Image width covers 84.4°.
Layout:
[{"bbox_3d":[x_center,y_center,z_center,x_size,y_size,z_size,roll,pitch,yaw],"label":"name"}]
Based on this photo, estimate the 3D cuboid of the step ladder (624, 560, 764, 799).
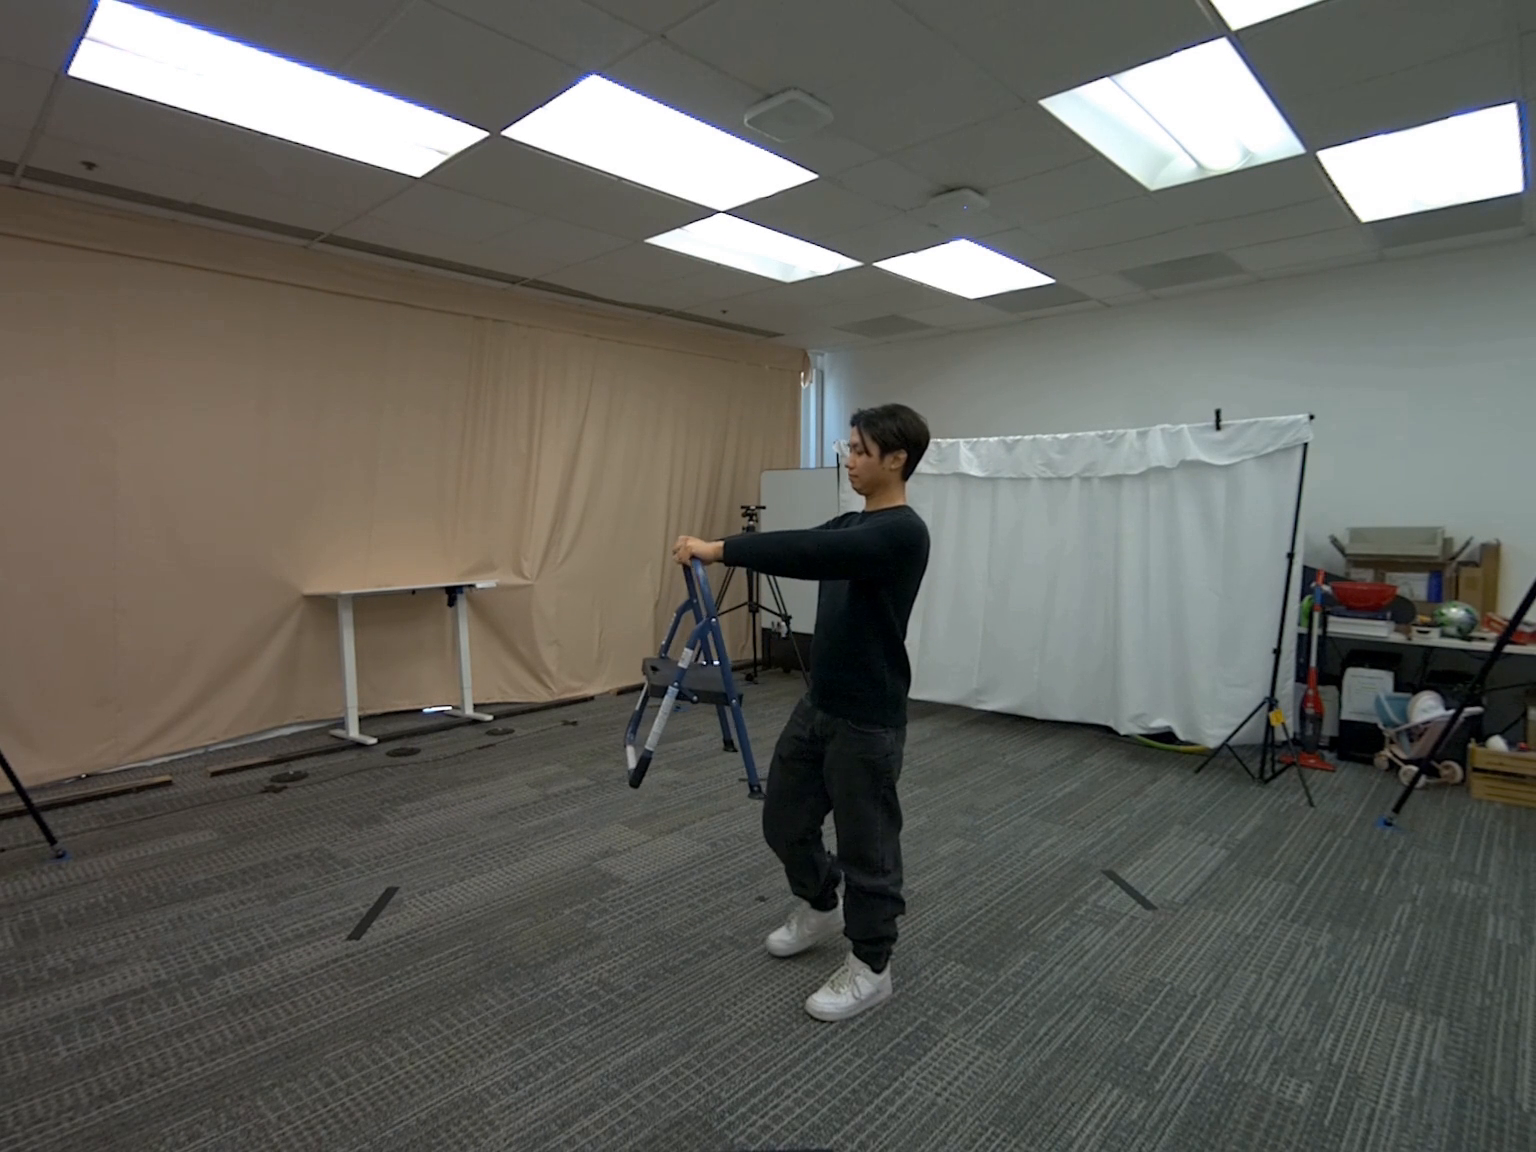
[{"bbox_3d":[-0.172,0.233,2.309,0.345,0.605,0.437,6,3,-12],"label":"step ladder"}]
